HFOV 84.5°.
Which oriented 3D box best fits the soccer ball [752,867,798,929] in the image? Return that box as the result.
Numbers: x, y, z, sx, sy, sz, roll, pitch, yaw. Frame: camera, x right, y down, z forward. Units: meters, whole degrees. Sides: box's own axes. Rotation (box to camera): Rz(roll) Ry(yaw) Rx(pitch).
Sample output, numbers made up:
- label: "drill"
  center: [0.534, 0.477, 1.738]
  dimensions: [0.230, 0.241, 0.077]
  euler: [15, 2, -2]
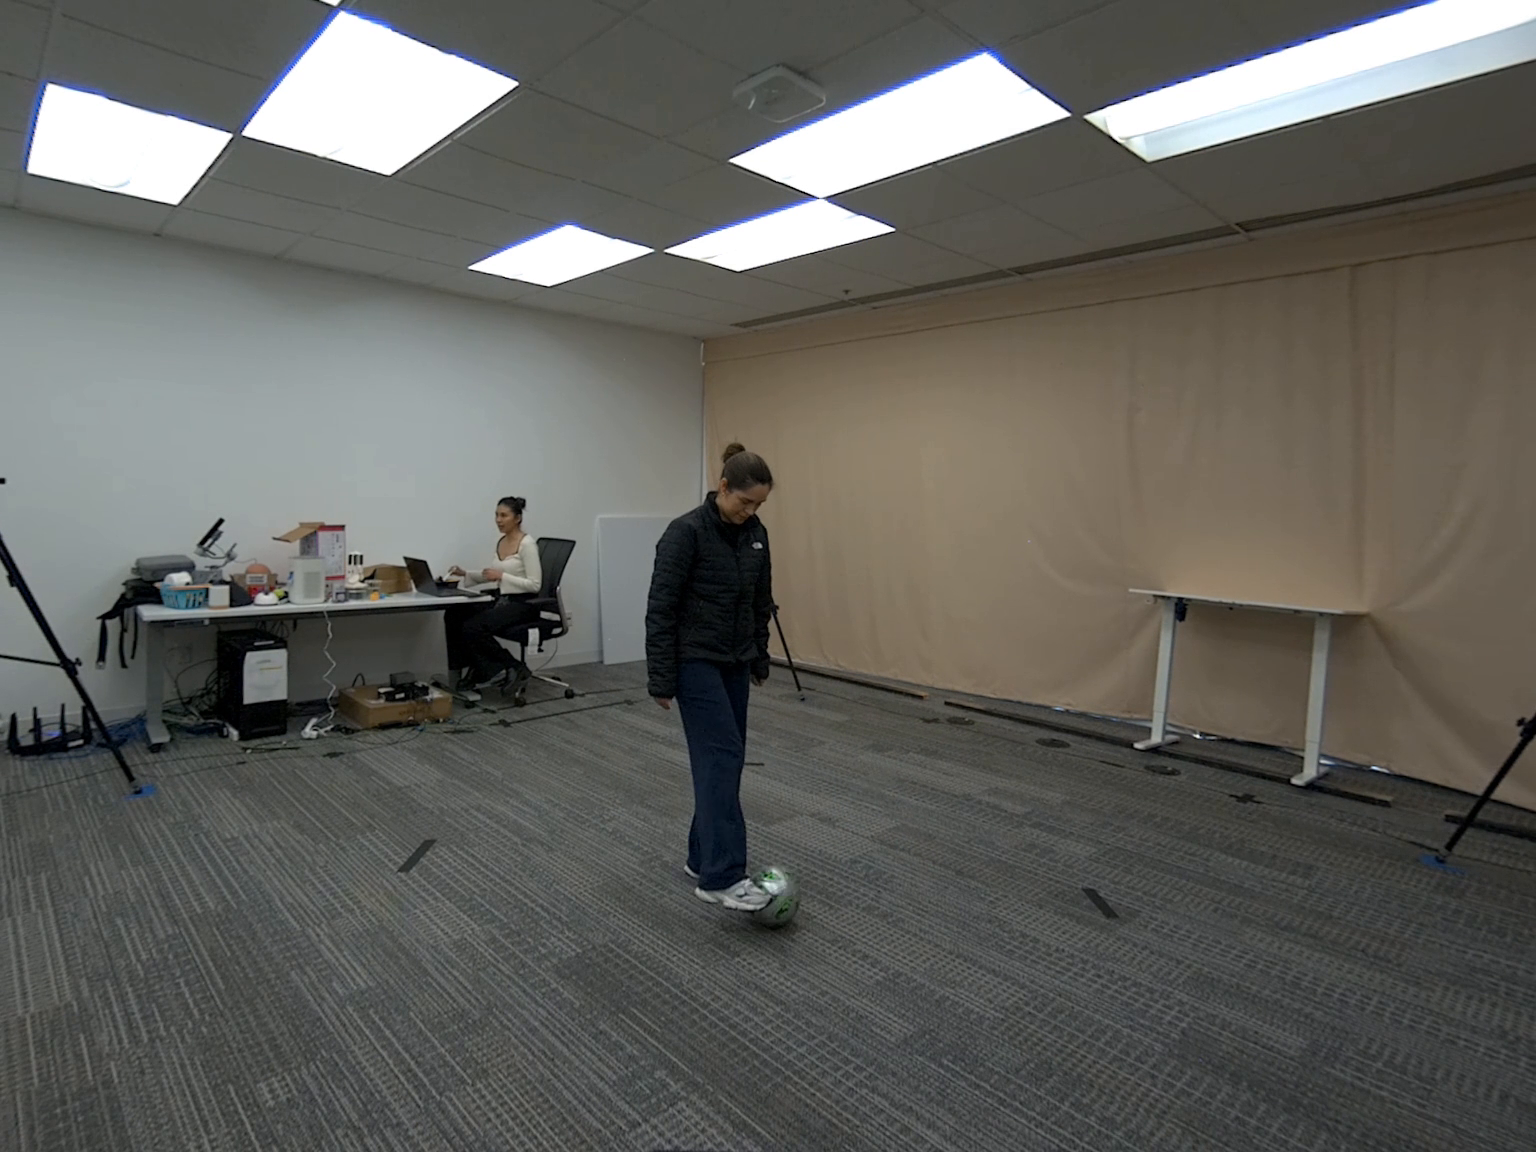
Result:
- label: "soccer ball"
  center: [0.004, 1.046, 2.755]
  dimensions: [0.187, 0.187, 0.188]
  euler: [1, 4, -1]
